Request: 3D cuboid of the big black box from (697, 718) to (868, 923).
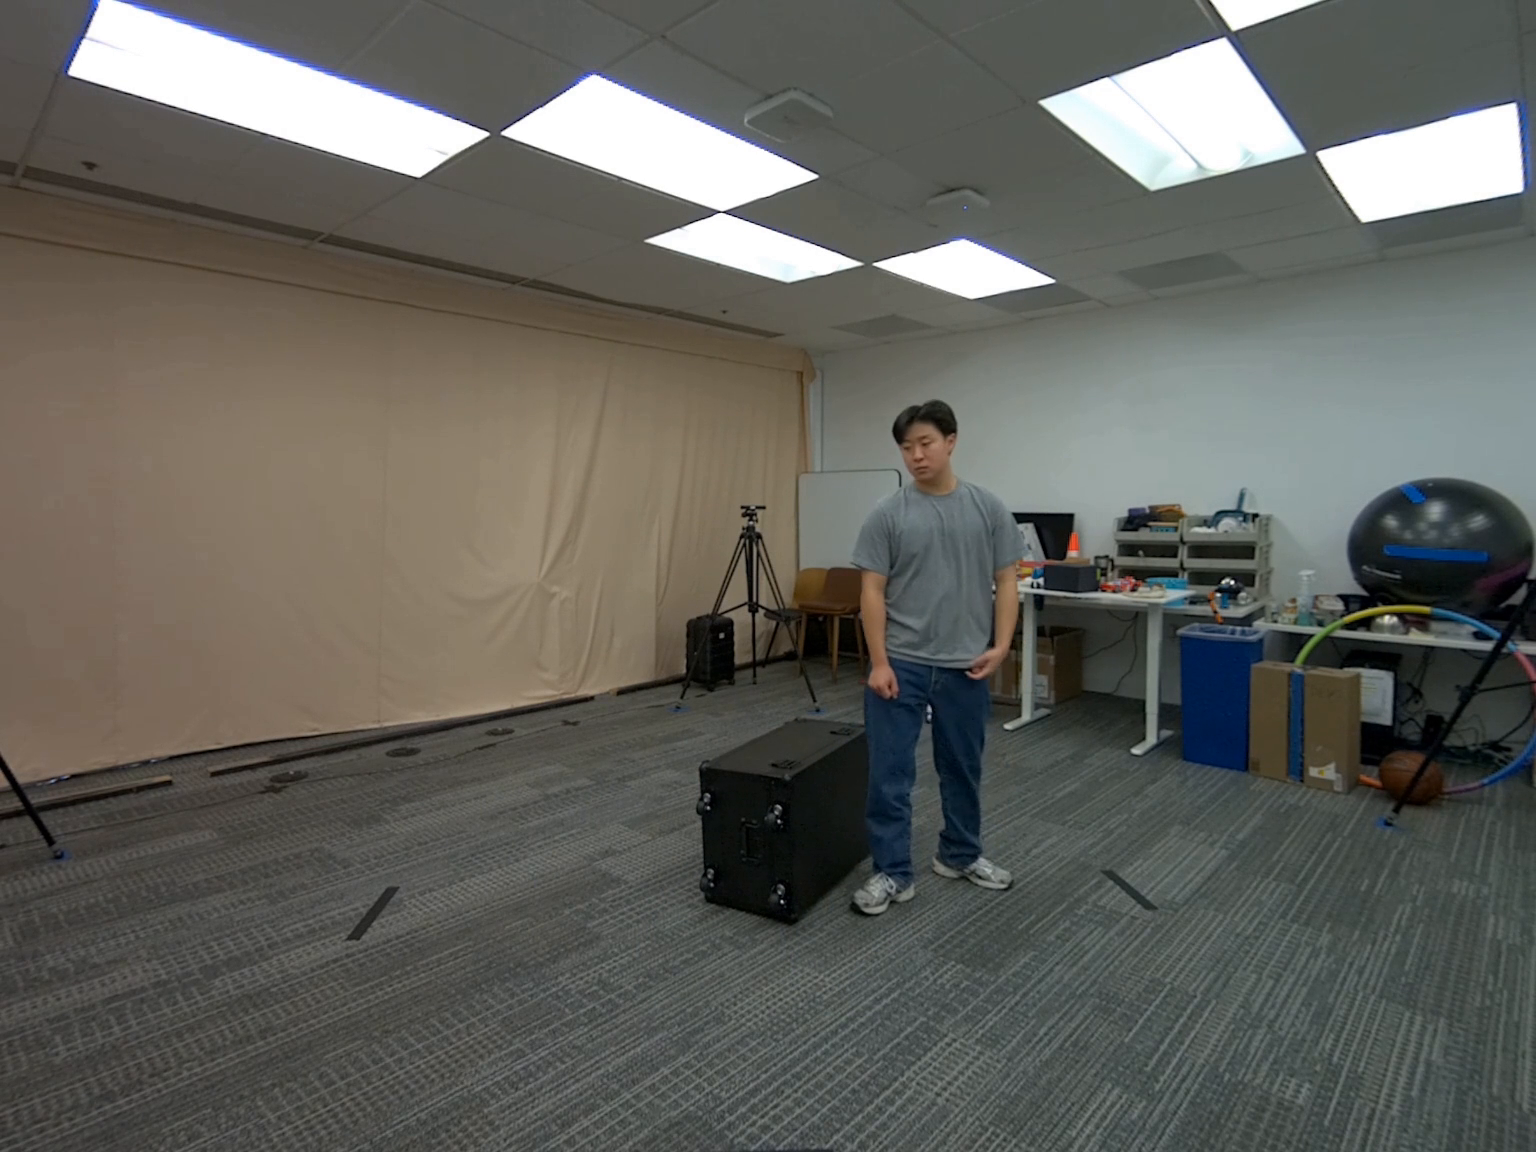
[{"bbox_3d":[0.083,0.871,3.168,0.407,0.520,0.839,-1,3,28],"label":"big black box"}]
